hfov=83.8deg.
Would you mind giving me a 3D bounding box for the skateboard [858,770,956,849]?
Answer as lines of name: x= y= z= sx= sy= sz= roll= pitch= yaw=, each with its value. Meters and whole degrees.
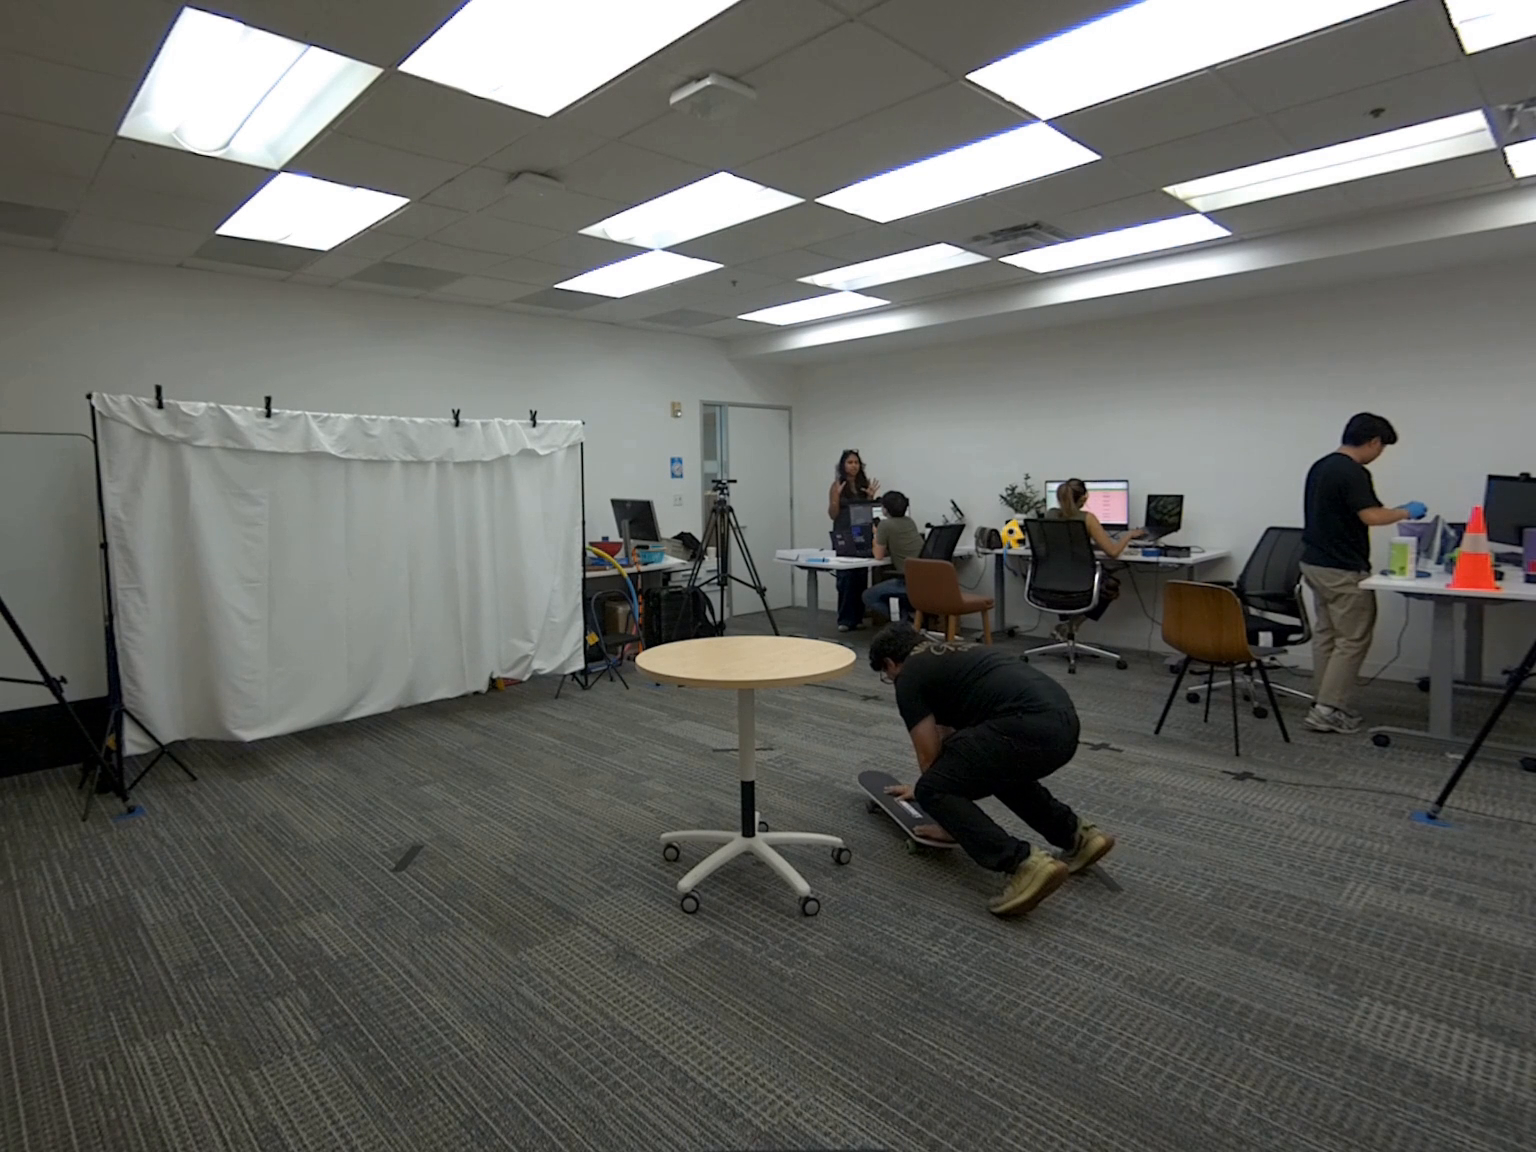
skateboard: x=0.556 y=0.950 z=3.389 sx=0.191 sy=0.110 sz=0.798 roll=1 pitch=6 yaw=-14
